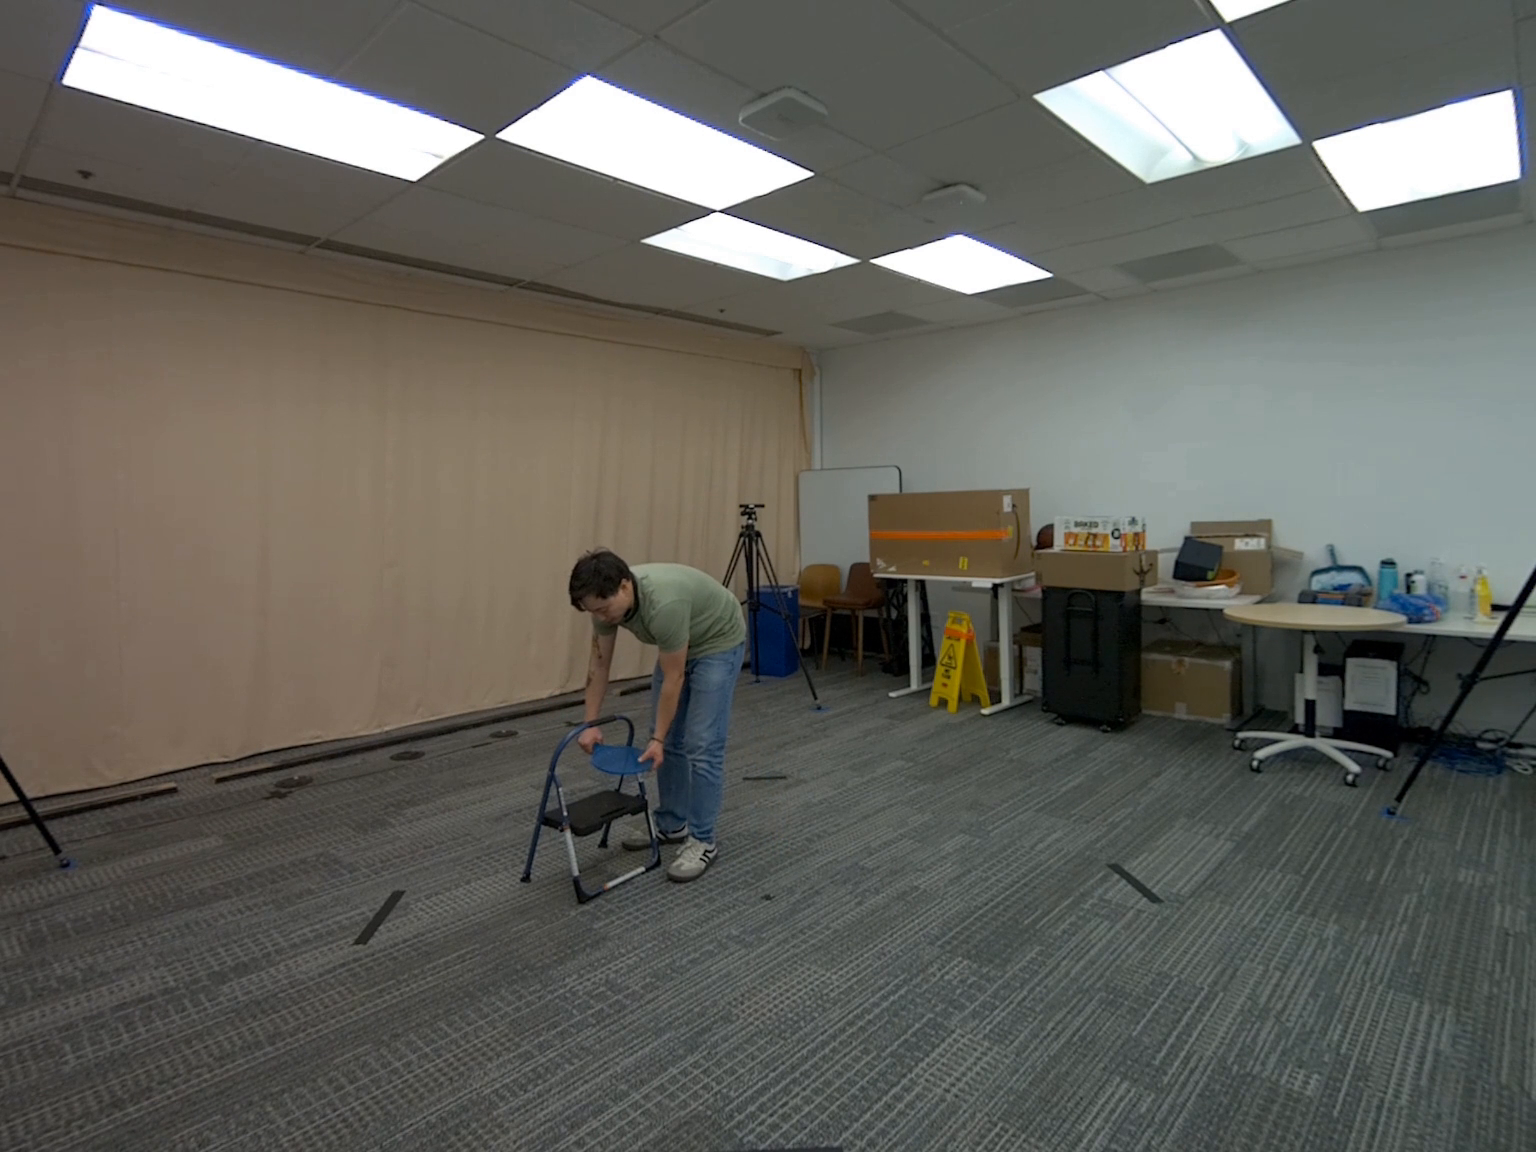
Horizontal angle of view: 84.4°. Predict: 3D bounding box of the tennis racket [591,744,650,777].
[{"bbox_3d":[-0.626,0.687,3.230,0.208,0.031,0.448,-11,15,-40],"label":"tennis racket"}]
